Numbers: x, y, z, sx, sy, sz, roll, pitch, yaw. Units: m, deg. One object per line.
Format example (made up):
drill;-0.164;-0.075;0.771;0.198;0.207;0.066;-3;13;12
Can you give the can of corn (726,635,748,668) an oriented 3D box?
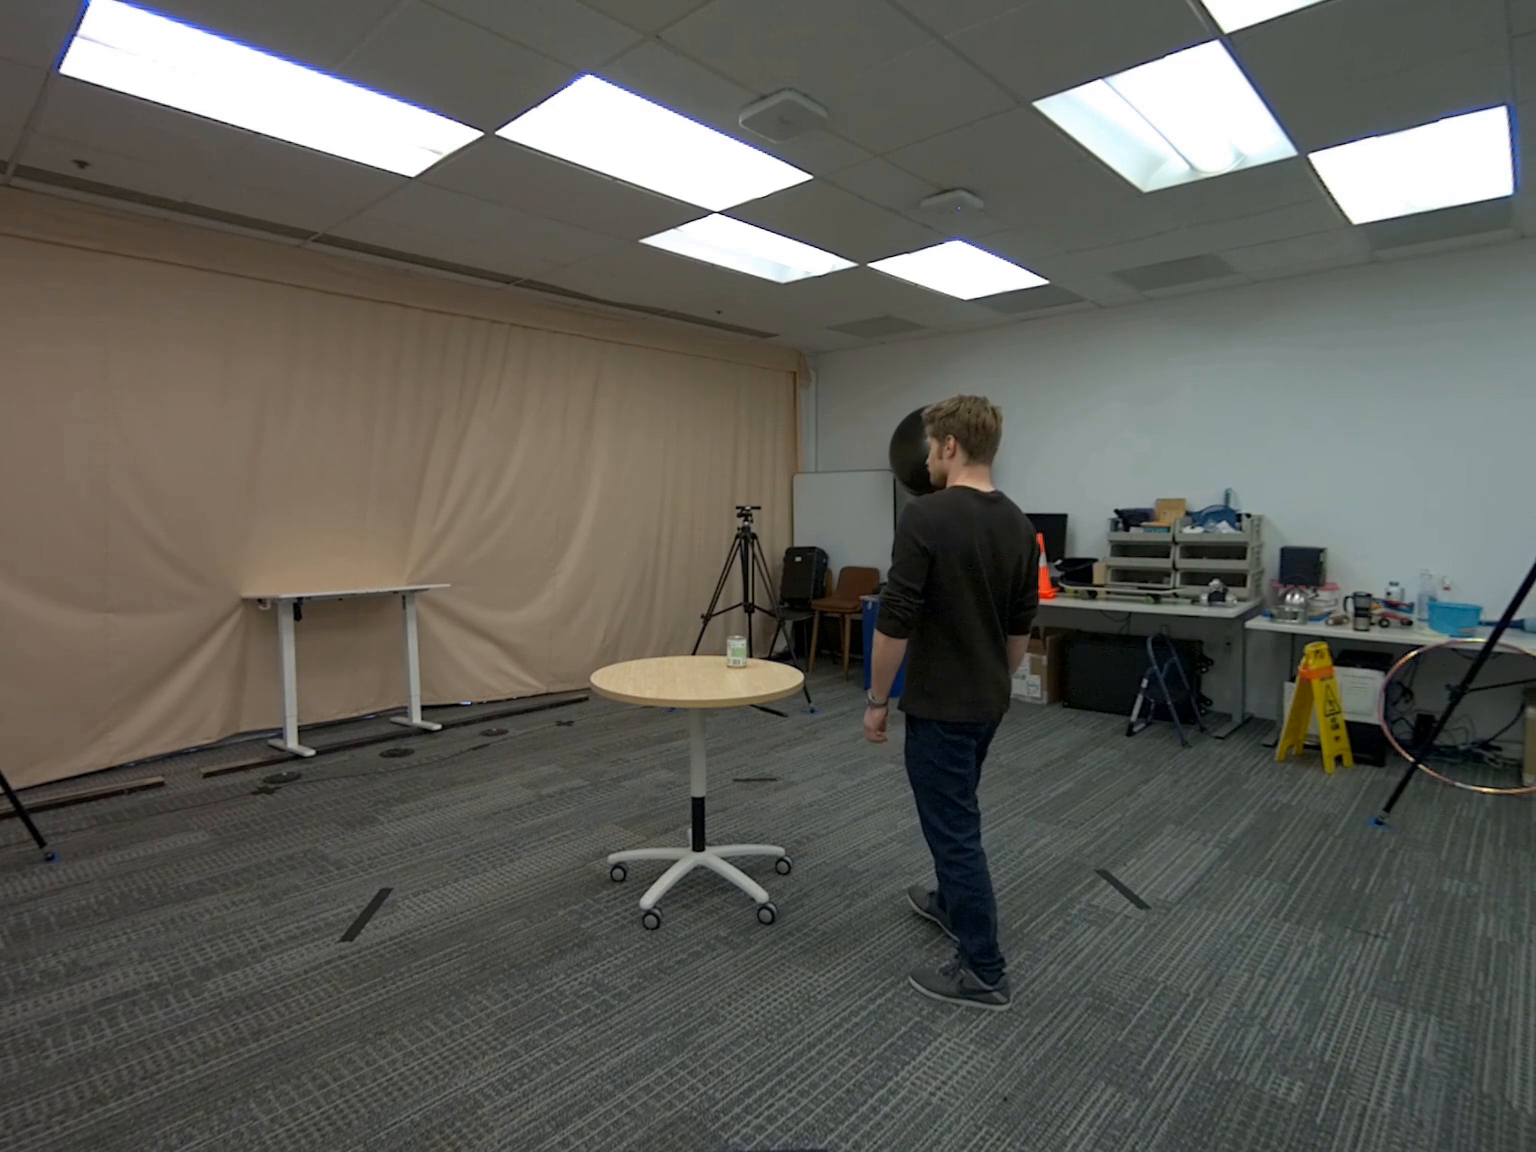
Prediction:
can of corn;-0.114;0.288;3.185;0.074;0.110;0.074;0;6;-2
